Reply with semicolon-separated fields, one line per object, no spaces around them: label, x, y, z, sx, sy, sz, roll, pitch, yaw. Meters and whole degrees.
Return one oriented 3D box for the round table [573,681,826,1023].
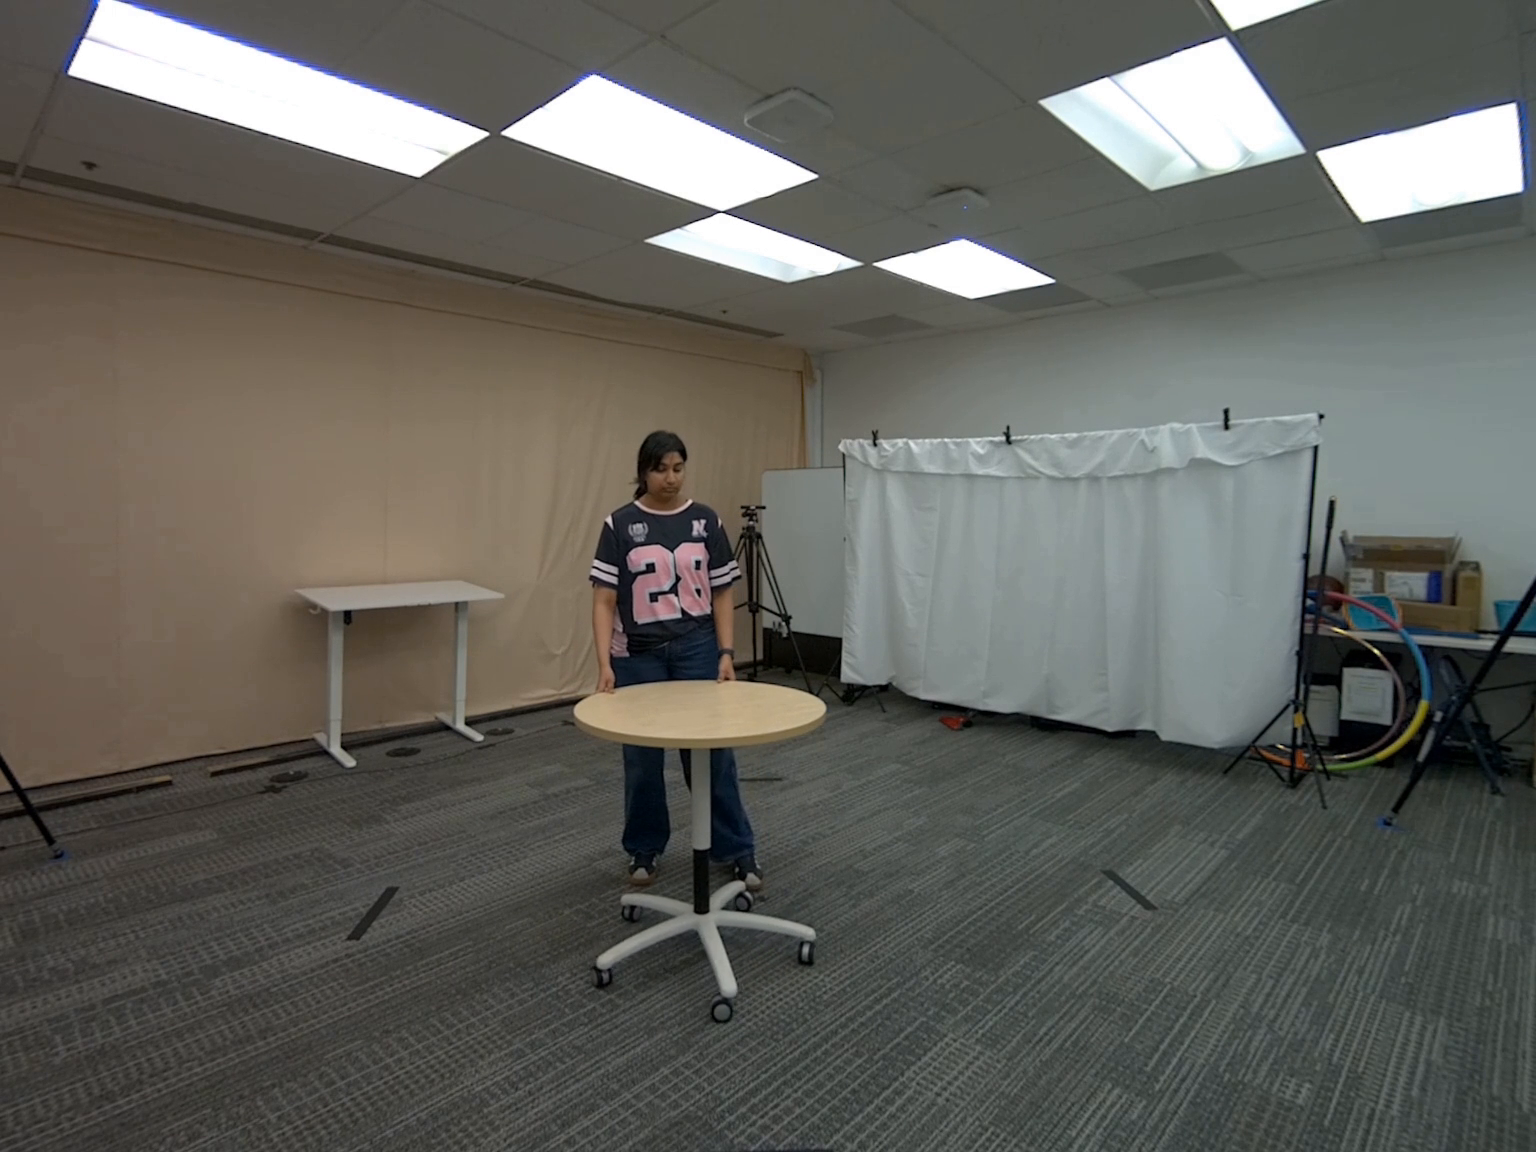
round table;-0.204;0.790;2.584;0.763;0.792;0.766;0;3;-2
